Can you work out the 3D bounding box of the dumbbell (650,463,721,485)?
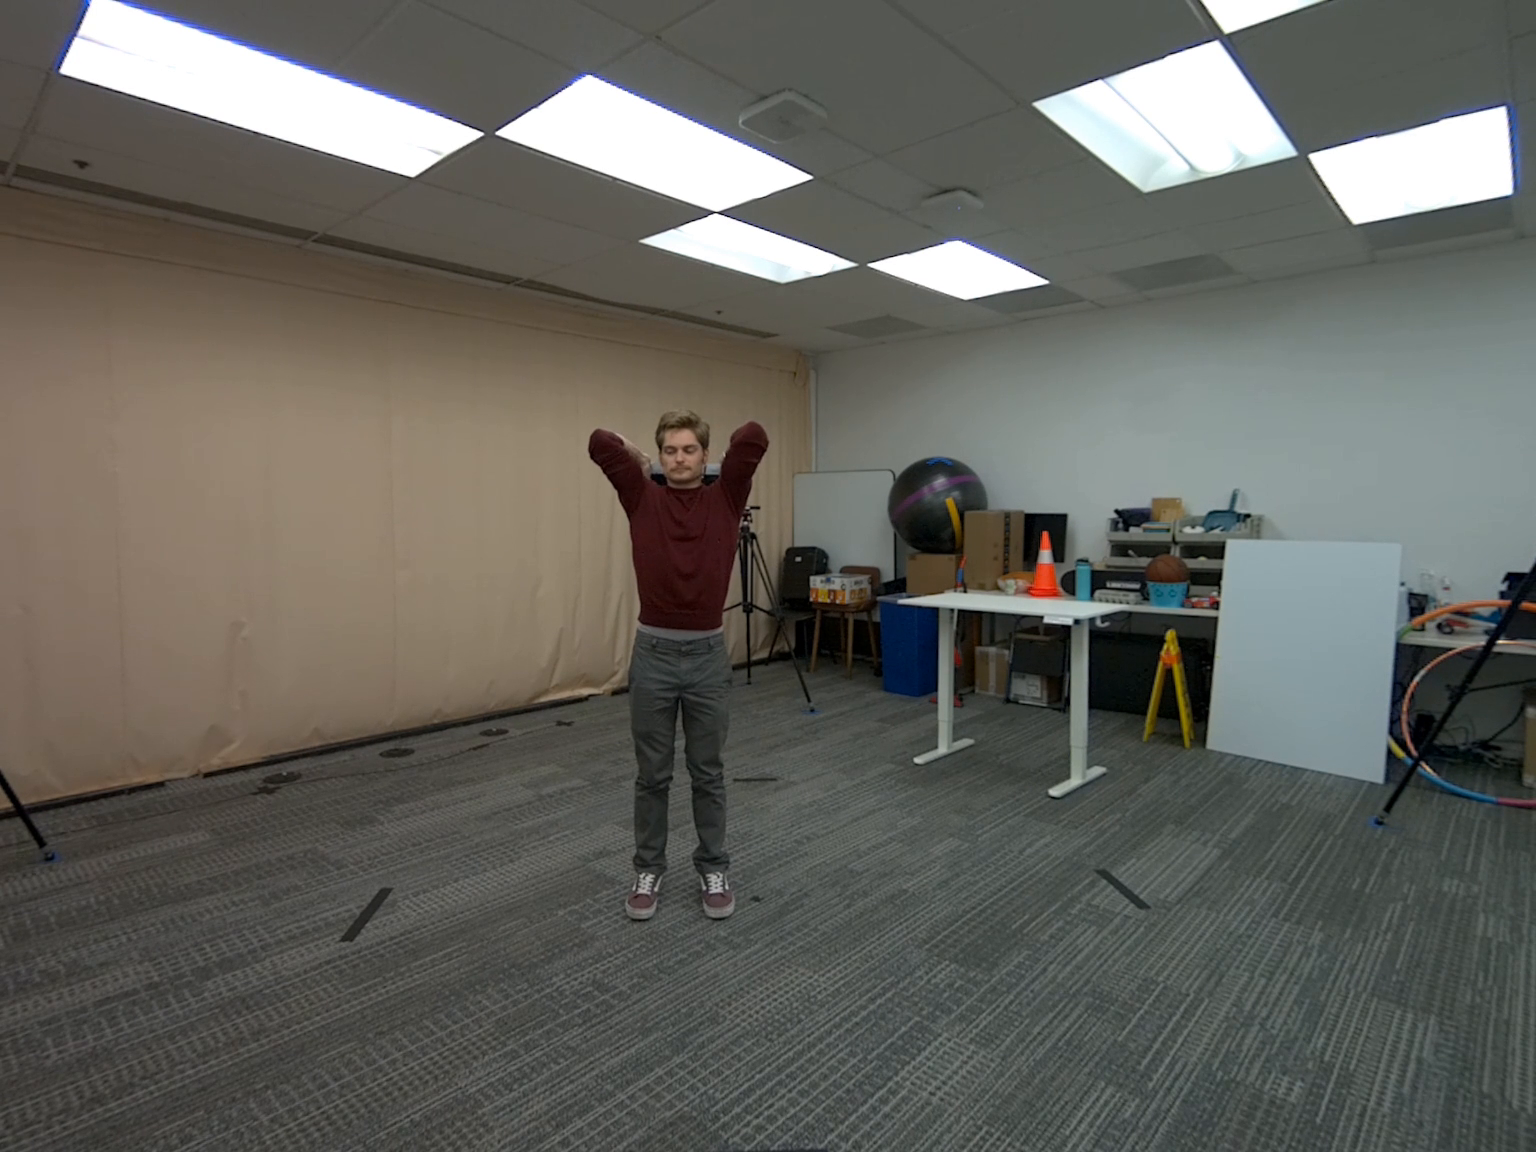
[{"bbox_3d":[-0.297,-0.384,3.087,0.295,0.121,0.109,0,20,6],"label":"dumbbell"}]
